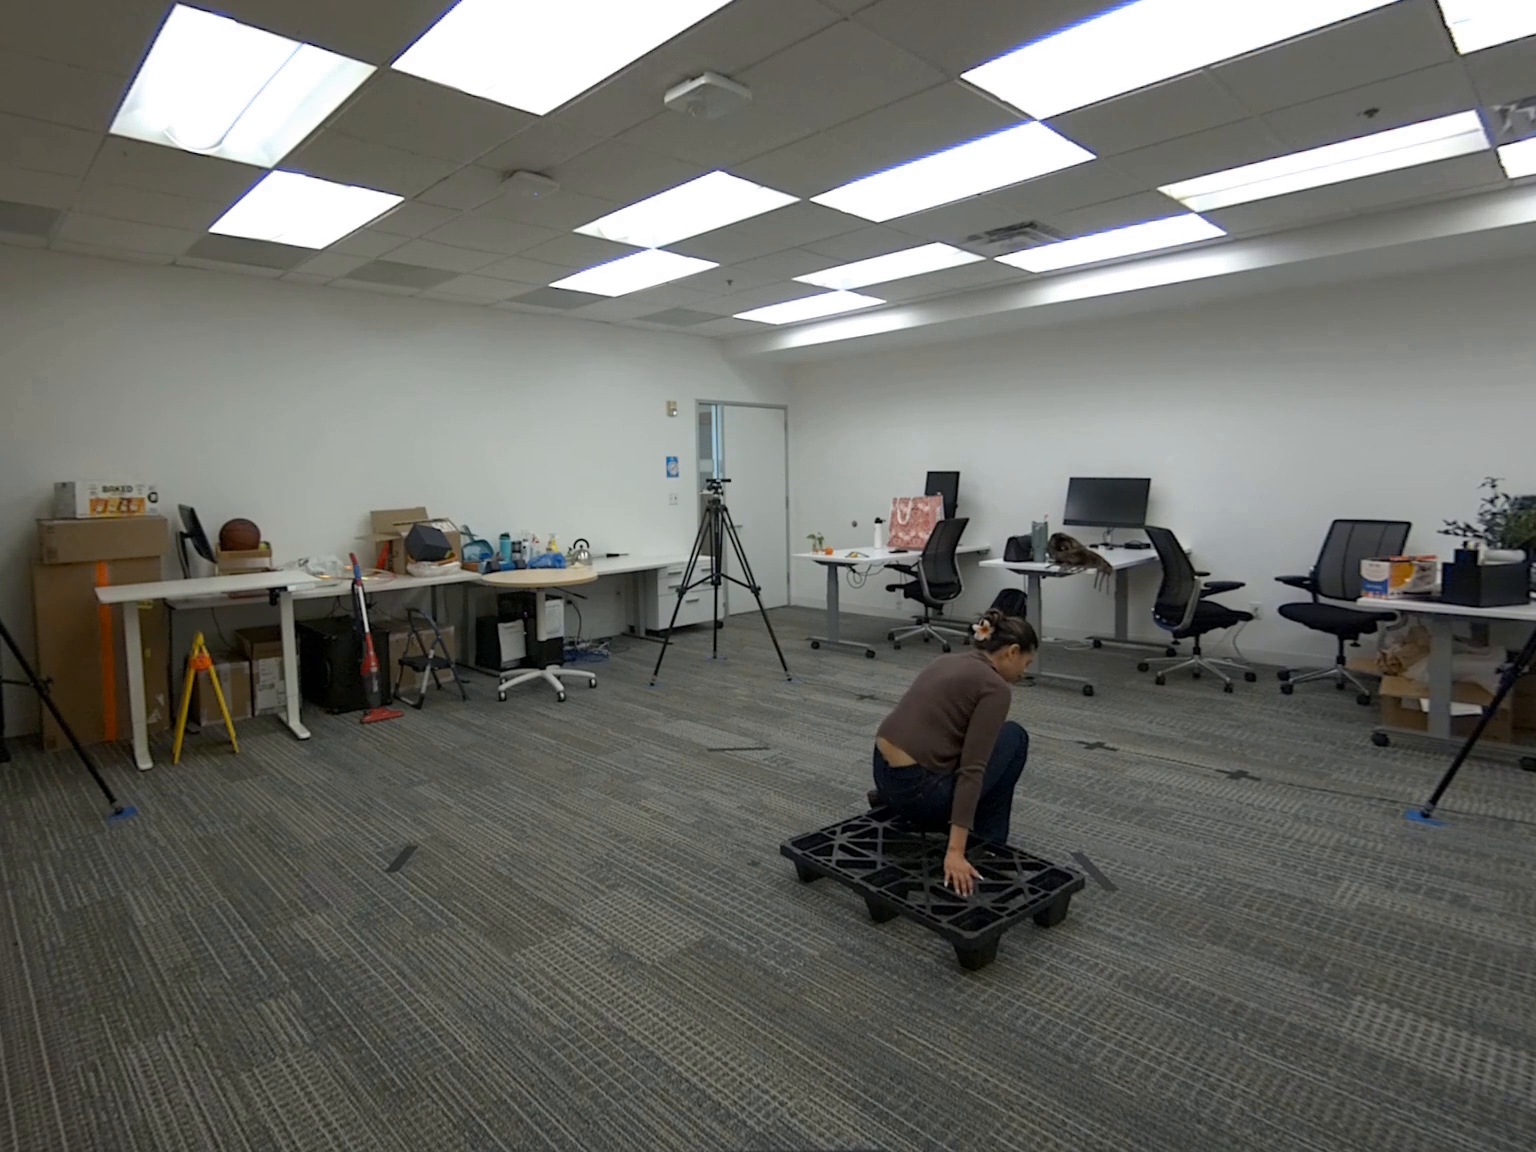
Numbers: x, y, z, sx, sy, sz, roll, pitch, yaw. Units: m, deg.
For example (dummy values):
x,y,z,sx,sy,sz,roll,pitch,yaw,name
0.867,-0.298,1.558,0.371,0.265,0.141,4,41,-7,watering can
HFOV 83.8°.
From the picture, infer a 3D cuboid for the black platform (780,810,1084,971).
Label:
x,y,z,sx,sy,sz,roll,pitch,yaw,name
0.521,1.000,2.819,0.590,0.142,0.830,-7,8,-38,black platform
